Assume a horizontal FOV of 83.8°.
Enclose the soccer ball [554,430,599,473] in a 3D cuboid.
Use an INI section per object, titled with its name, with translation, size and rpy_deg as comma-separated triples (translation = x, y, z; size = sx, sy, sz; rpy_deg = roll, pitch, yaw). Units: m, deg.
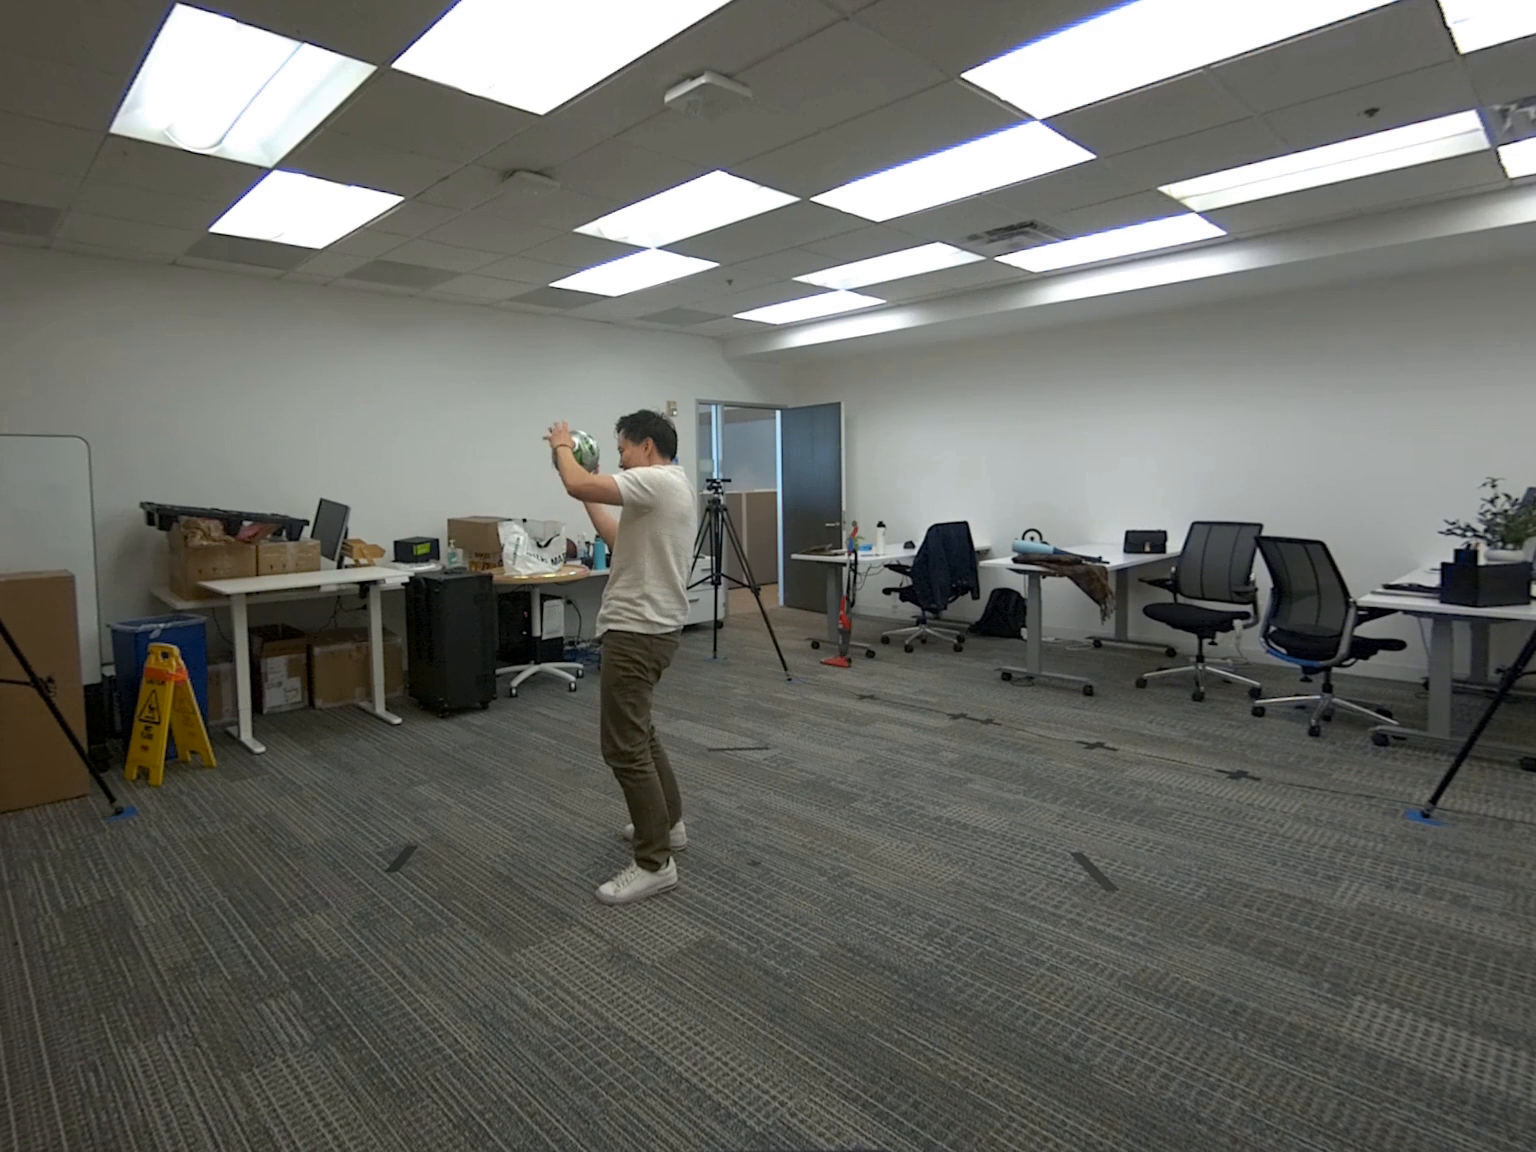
[soccer ball]
translation = -0.751, -0.475, 3.342
size = 0.187, 0.187, 0.188
rpy_deg = -1, 5, -2
